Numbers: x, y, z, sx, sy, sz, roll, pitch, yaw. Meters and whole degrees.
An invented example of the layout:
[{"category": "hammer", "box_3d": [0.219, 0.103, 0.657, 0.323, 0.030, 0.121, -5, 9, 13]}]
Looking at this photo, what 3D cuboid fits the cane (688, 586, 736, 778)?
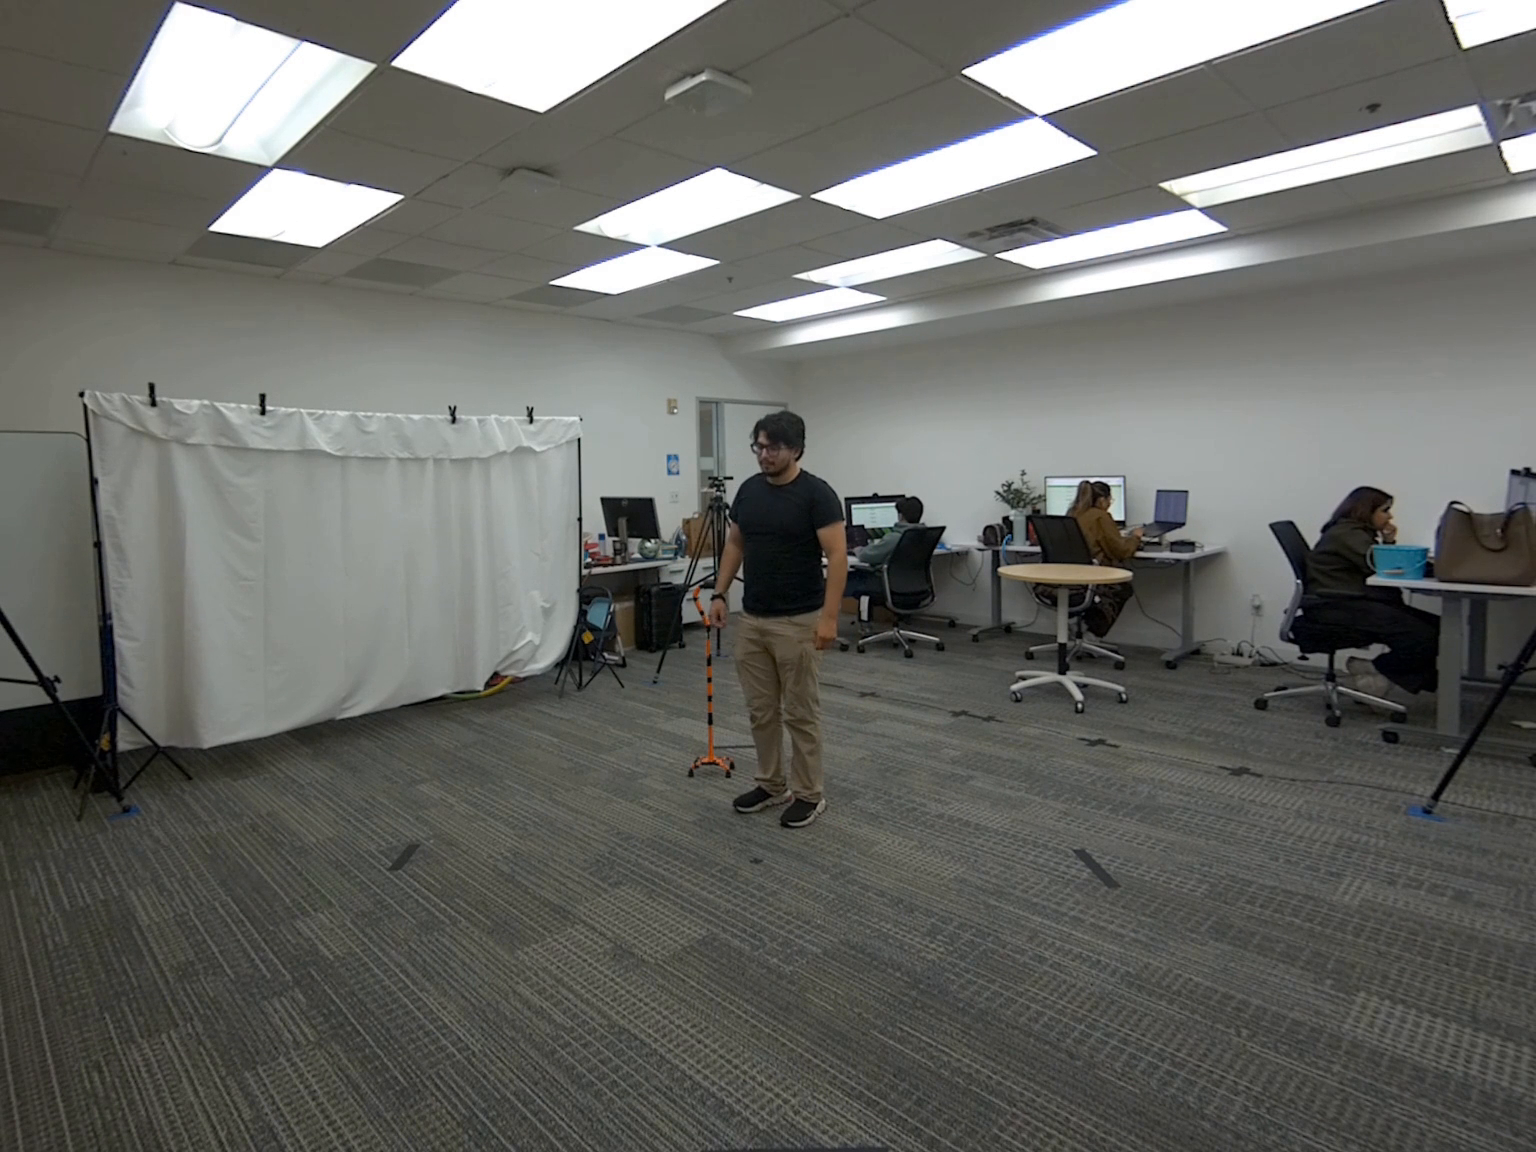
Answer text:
[{"category": "cane", "box_3d": [-0.274, 0.485, 4.043, 0.208, 0.906, 0.151, -1, 3, 7]}]
